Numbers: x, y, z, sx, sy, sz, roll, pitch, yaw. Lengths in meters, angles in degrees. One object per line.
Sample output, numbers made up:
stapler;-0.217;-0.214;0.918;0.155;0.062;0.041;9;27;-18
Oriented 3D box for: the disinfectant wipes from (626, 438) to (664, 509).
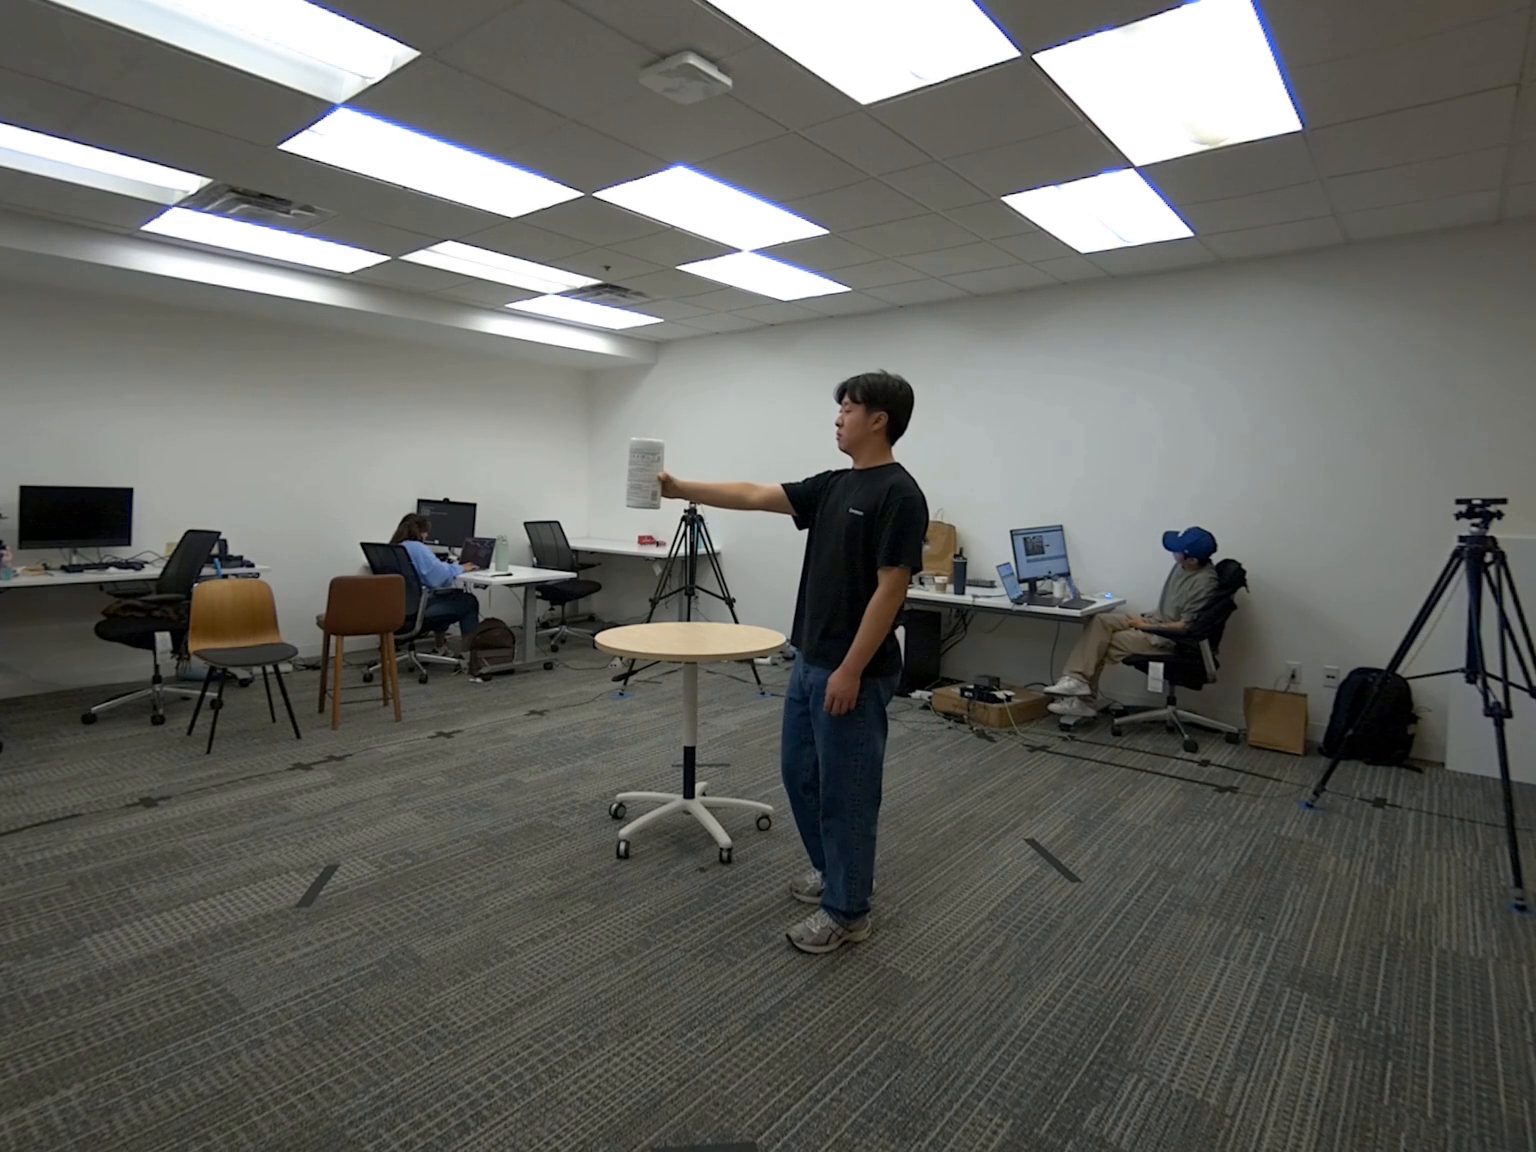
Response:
disinfectant wipes;-0.396;-0.324;2.649;0.117;0.217;0.118;3;3;-2
